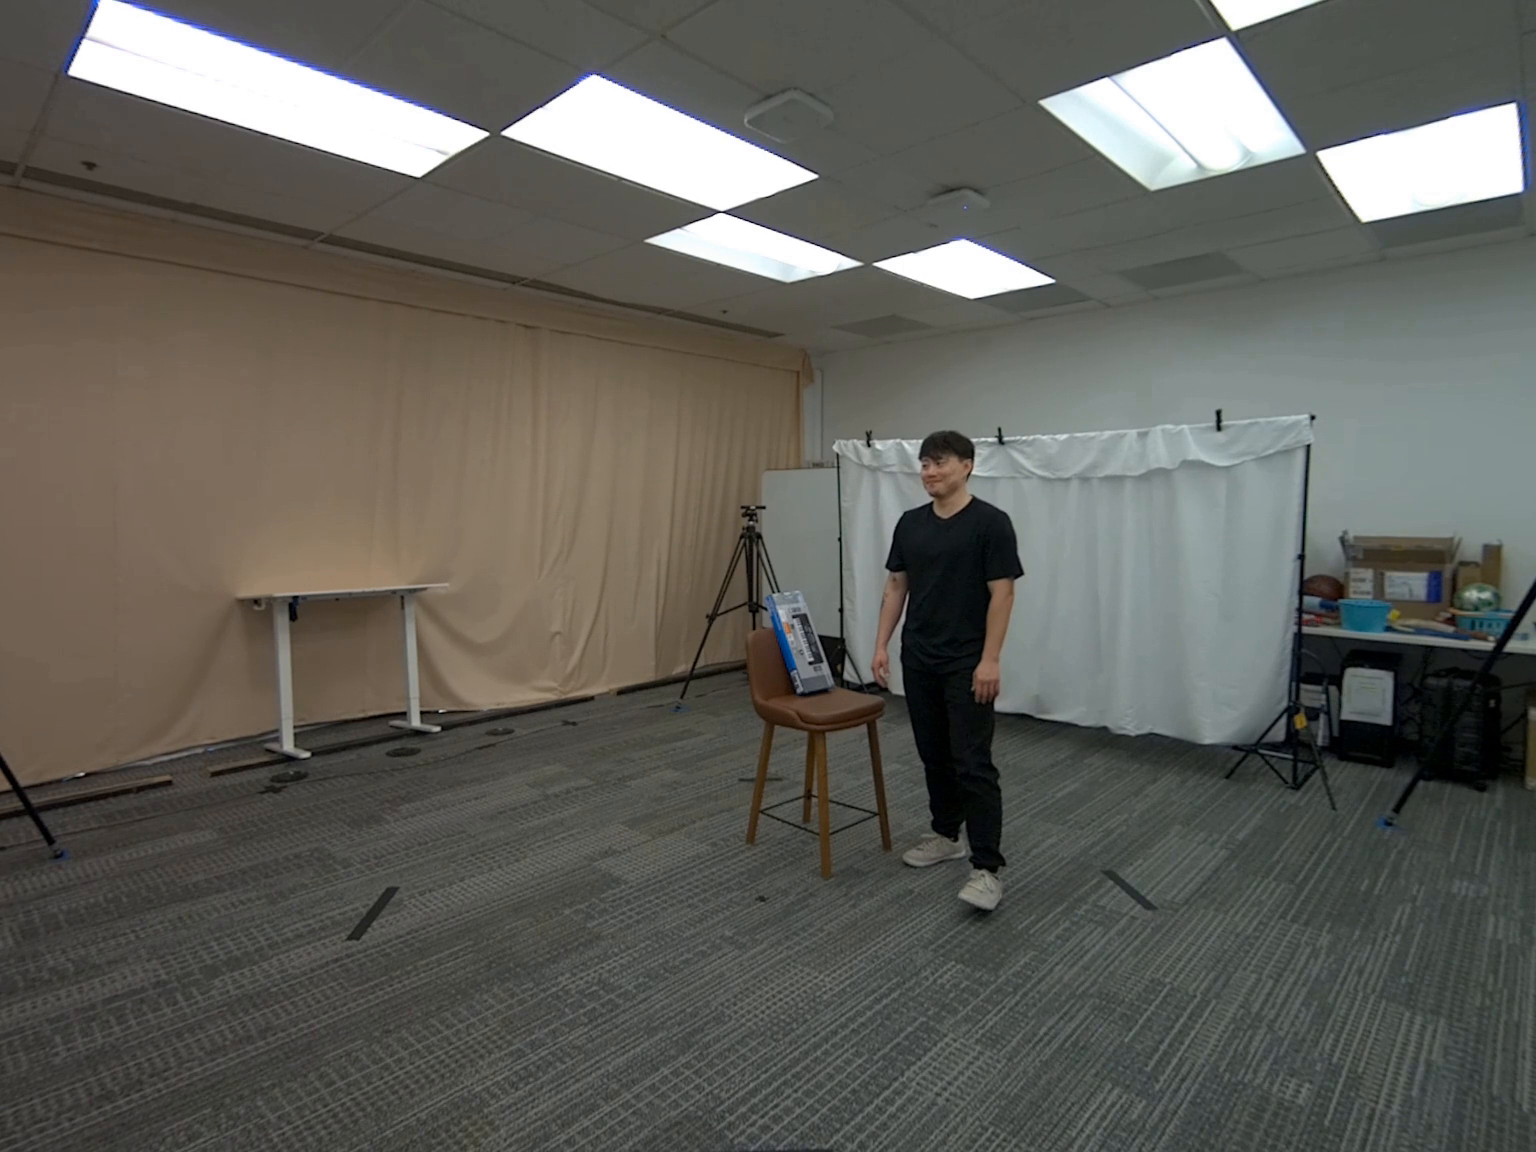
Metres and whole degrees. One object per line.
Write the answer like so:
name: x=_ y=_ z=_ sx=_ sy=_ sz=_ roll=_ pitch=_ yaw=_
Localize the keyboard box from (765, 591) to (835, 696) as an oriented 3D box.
keyboard box: x=0.138 y=0.280 z=3.560 sx=0.171 sy=0.444 sz=0.060 roll=-5 pitch=-24 yaw=-37
